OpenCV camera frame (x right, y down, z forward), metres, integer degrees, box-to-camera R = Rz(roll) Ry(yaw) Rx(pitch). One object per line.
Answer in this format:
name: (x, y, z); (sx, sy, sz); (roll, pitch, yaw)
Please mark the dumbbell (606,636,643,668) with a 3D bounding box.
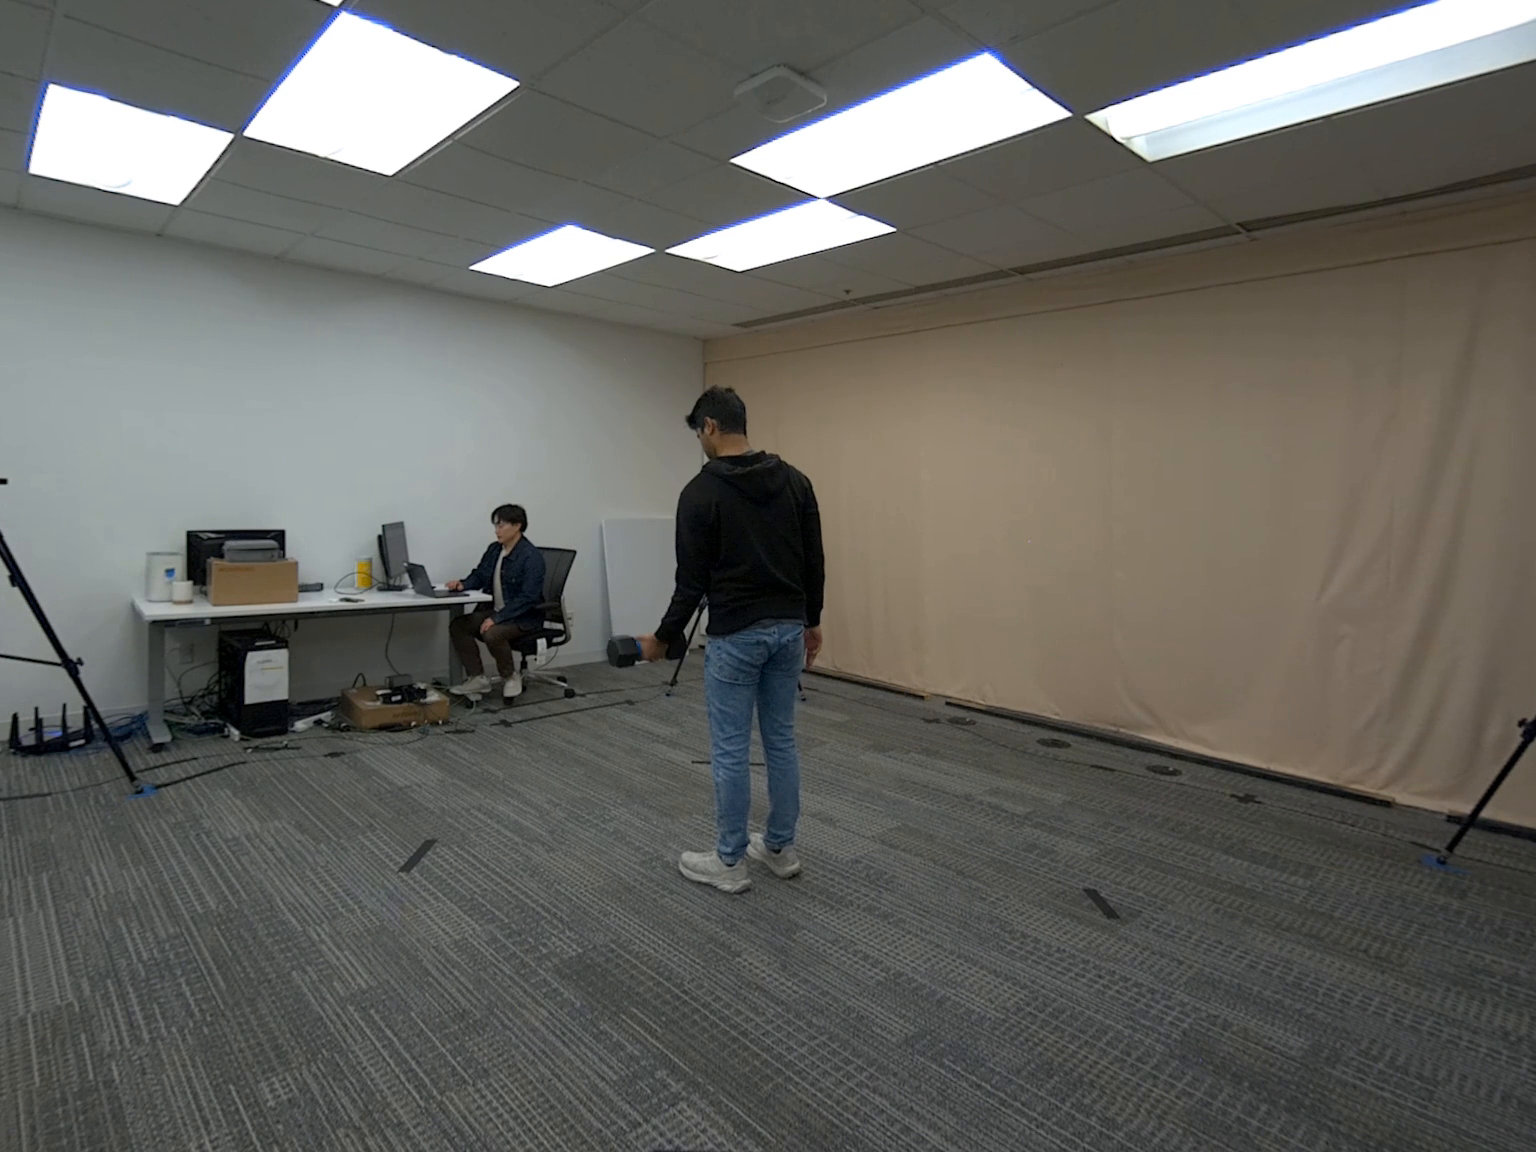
dumbbell: (-0.442, 0.246, 3.092); (0.287, 0.108, 0.126); (-4, 5, -34)
